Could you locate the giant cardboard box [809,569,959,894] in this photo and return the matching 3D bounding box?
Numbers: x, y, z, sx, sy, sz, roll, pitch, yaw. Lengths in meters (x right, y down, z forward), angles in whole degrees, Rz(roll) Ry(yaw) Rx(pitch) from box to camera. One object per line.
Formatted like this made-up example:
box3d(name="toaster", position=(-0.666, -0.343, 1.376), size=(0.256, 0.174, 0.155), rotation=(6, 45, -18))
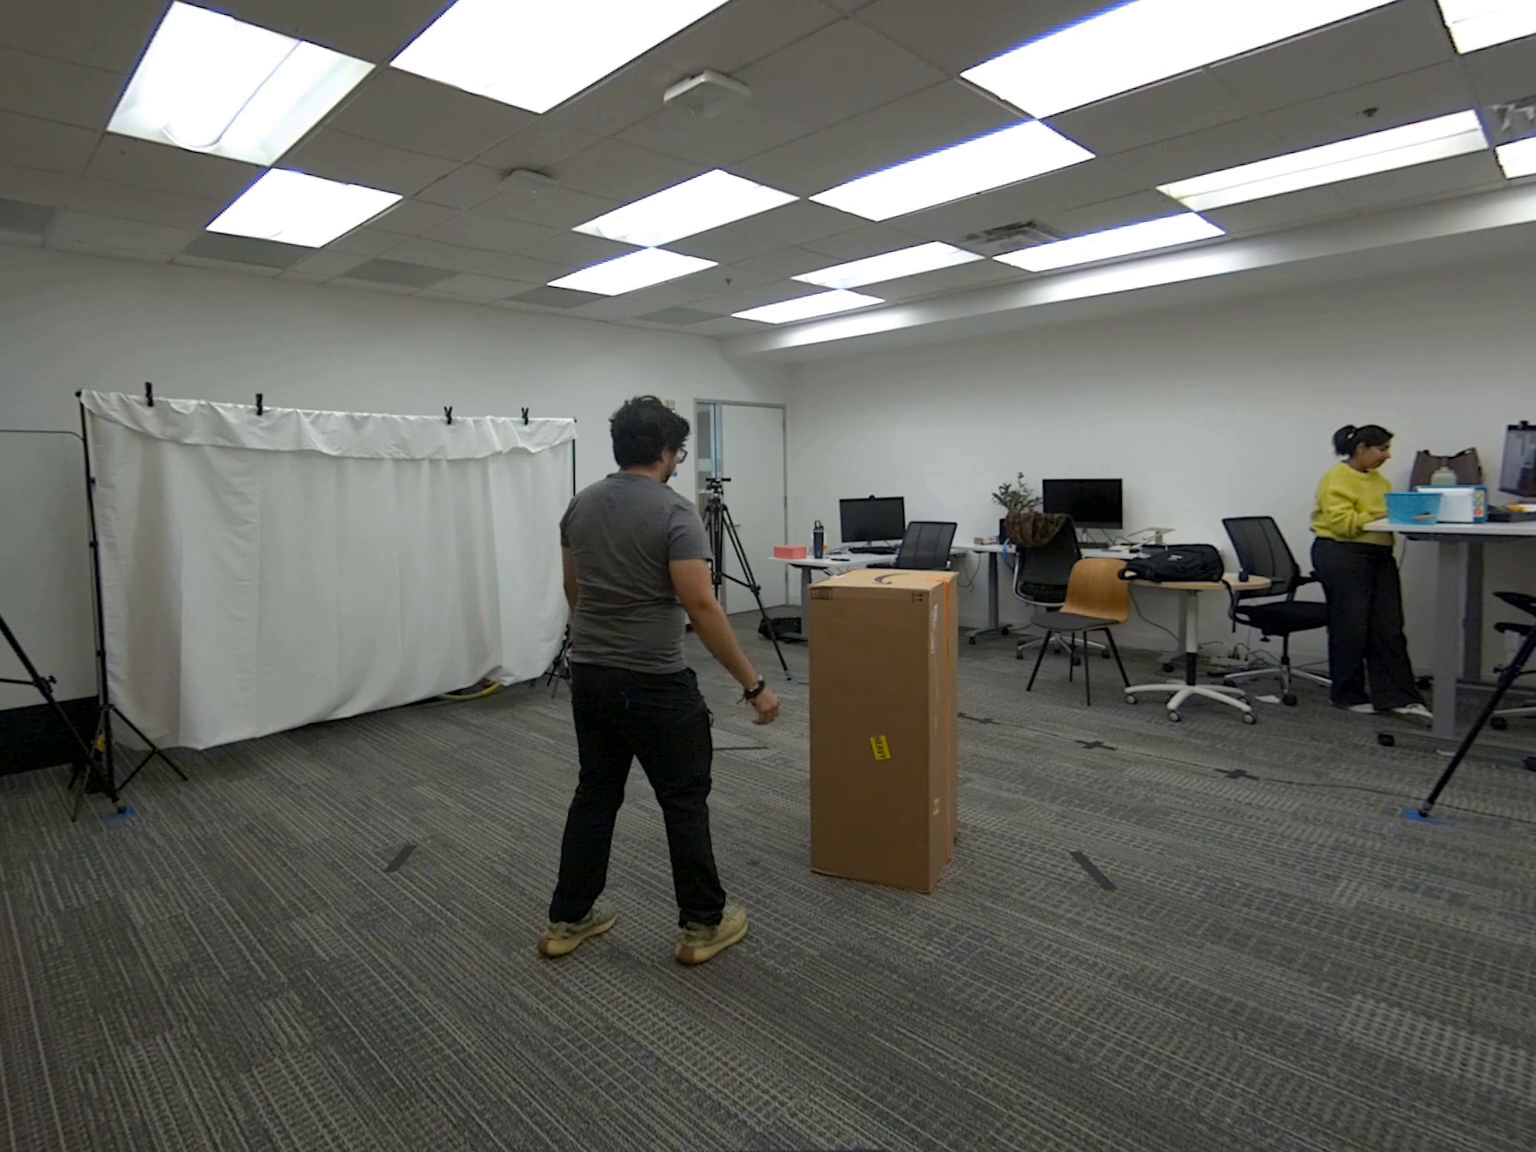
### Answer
box3d(name="giant cardboard box", position=(0.447, 0.518, 3.164), size=(0.436, 1.022, 0.566), rotation=(1, 4, 24))
